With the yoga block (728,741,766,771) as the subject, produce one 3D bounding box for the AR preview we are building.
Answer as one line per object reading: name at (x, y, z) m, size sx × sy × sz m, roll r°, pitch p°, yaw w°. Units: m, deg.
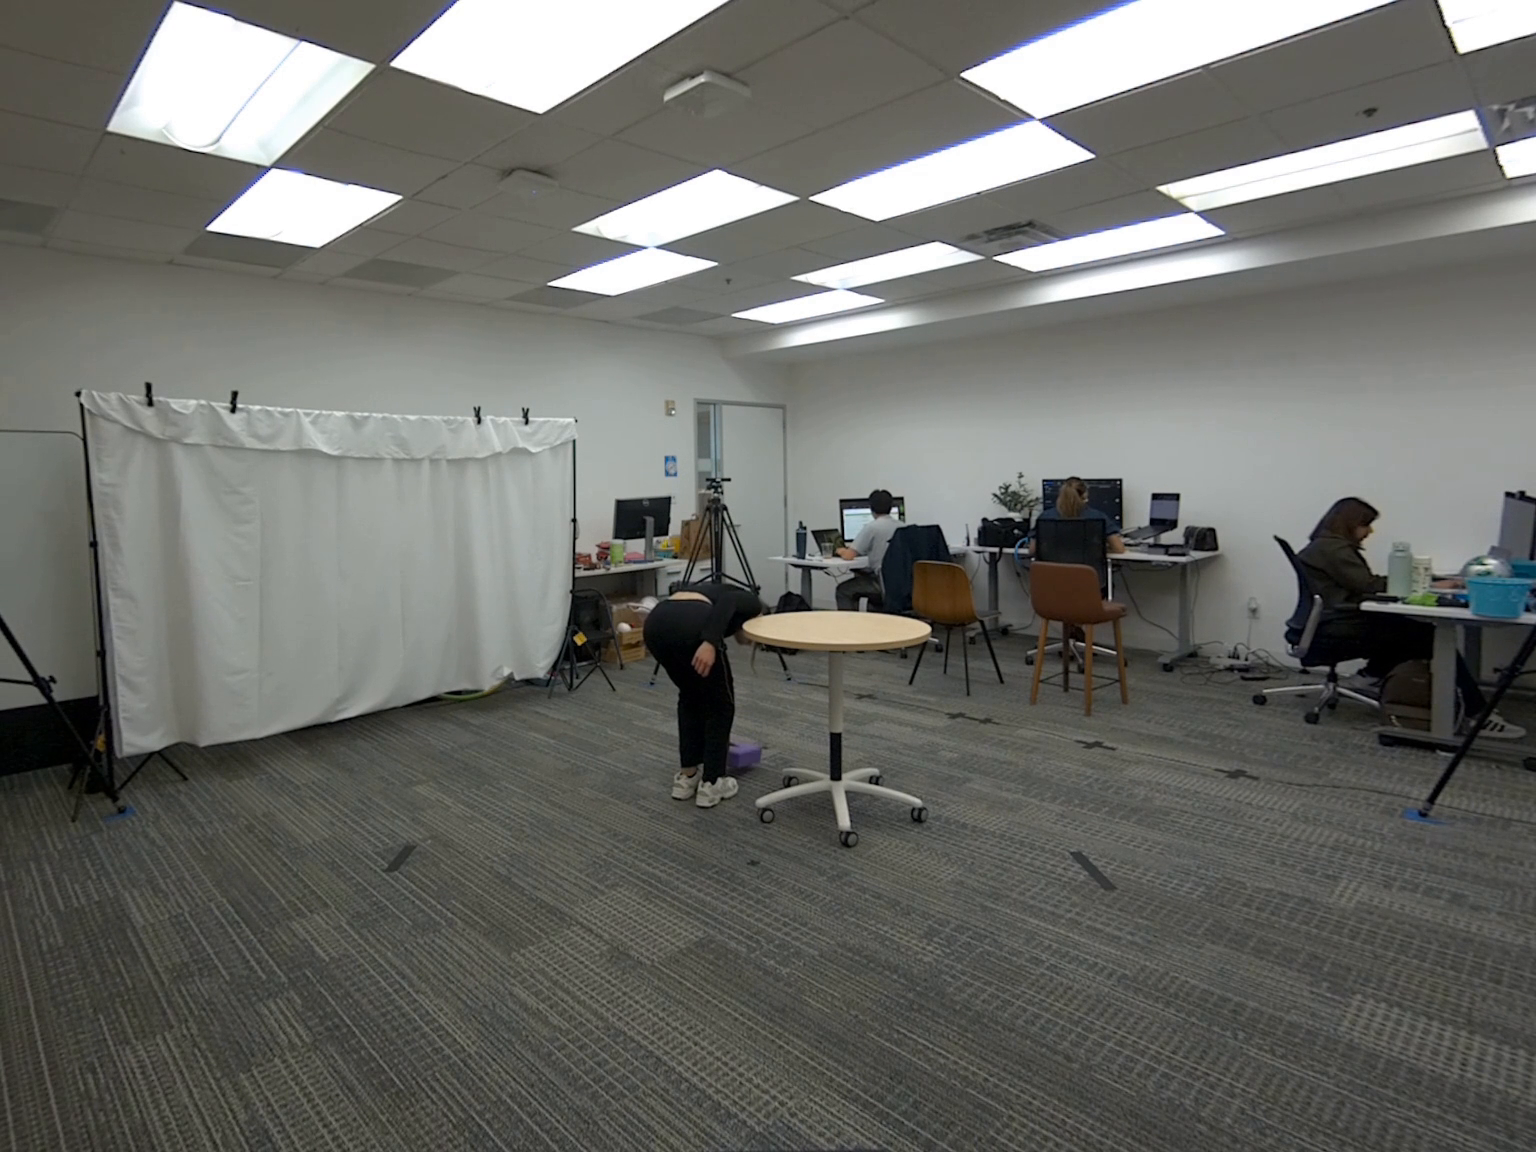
yoga block at (-0.138, 0.856, 4.088) m, size 0.153 × 0.076 × 0.223 m, roll 5°, pitch 0°, yaw 28°
